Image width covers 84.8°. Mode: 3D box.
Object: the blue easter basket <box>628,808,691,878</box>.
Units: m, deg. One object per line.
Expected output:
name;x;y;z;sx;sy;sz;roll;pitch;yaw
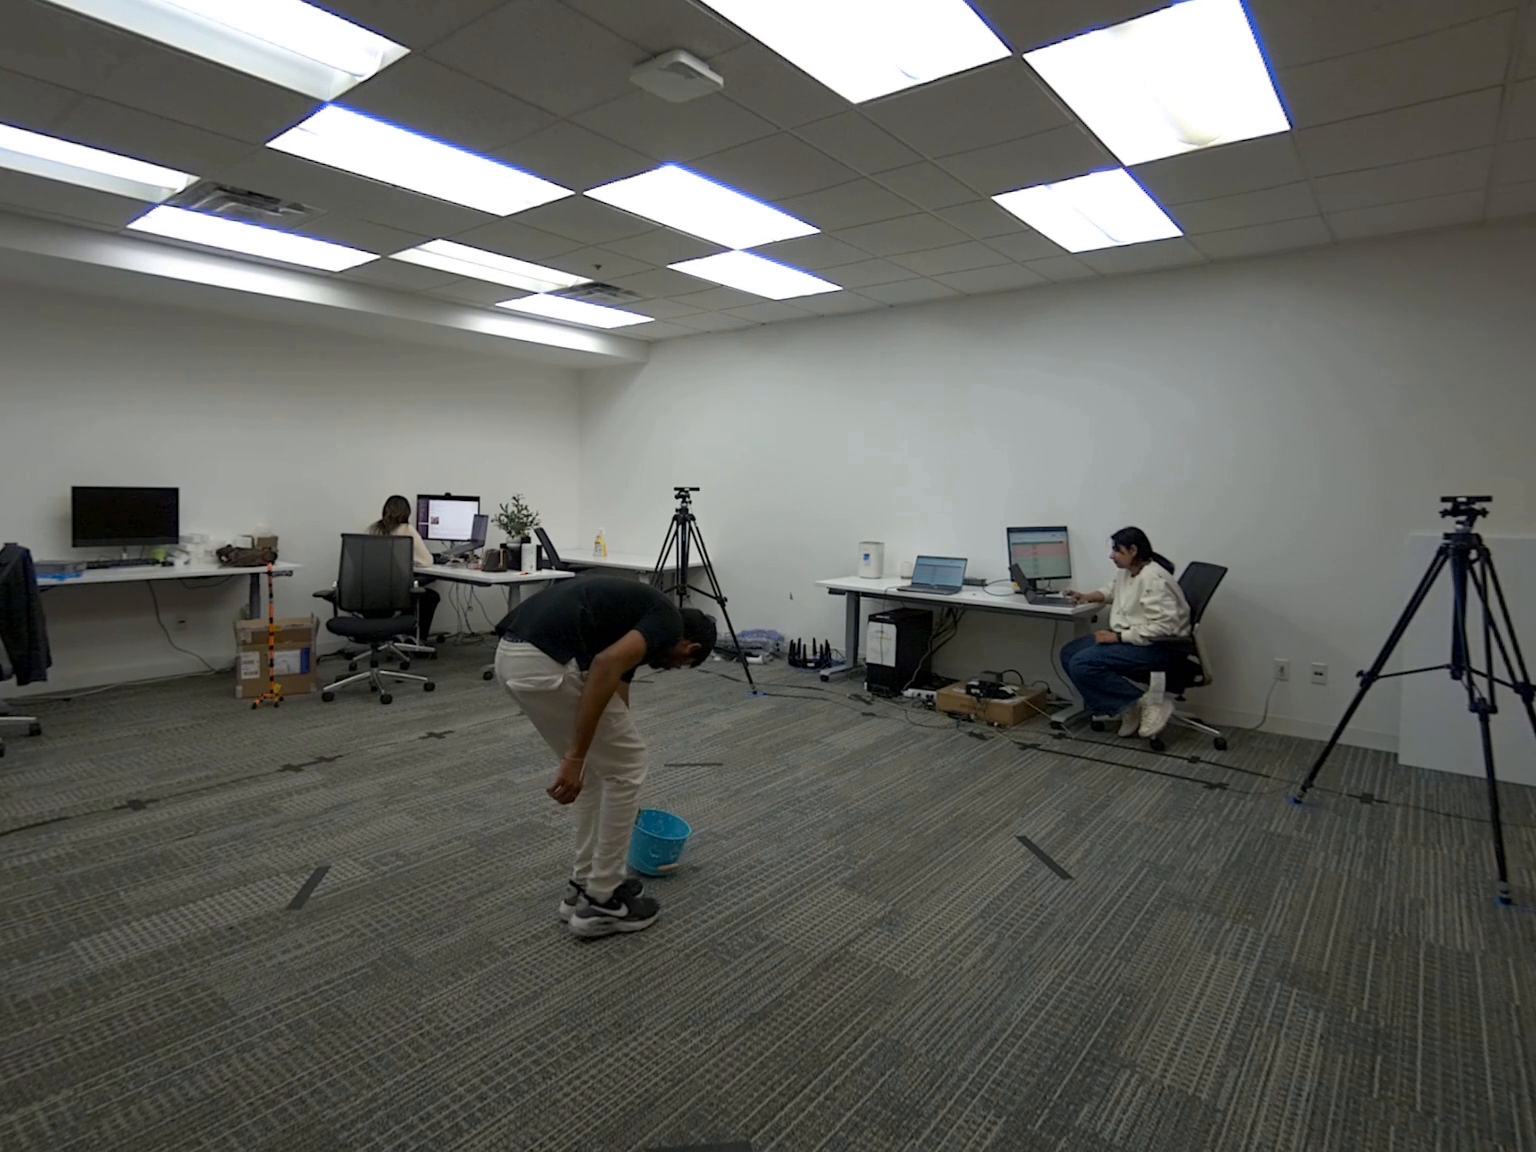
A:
blue easter basket;-0.418;0.970;3.089;0.243;0.155;0.245;13;4;-3
